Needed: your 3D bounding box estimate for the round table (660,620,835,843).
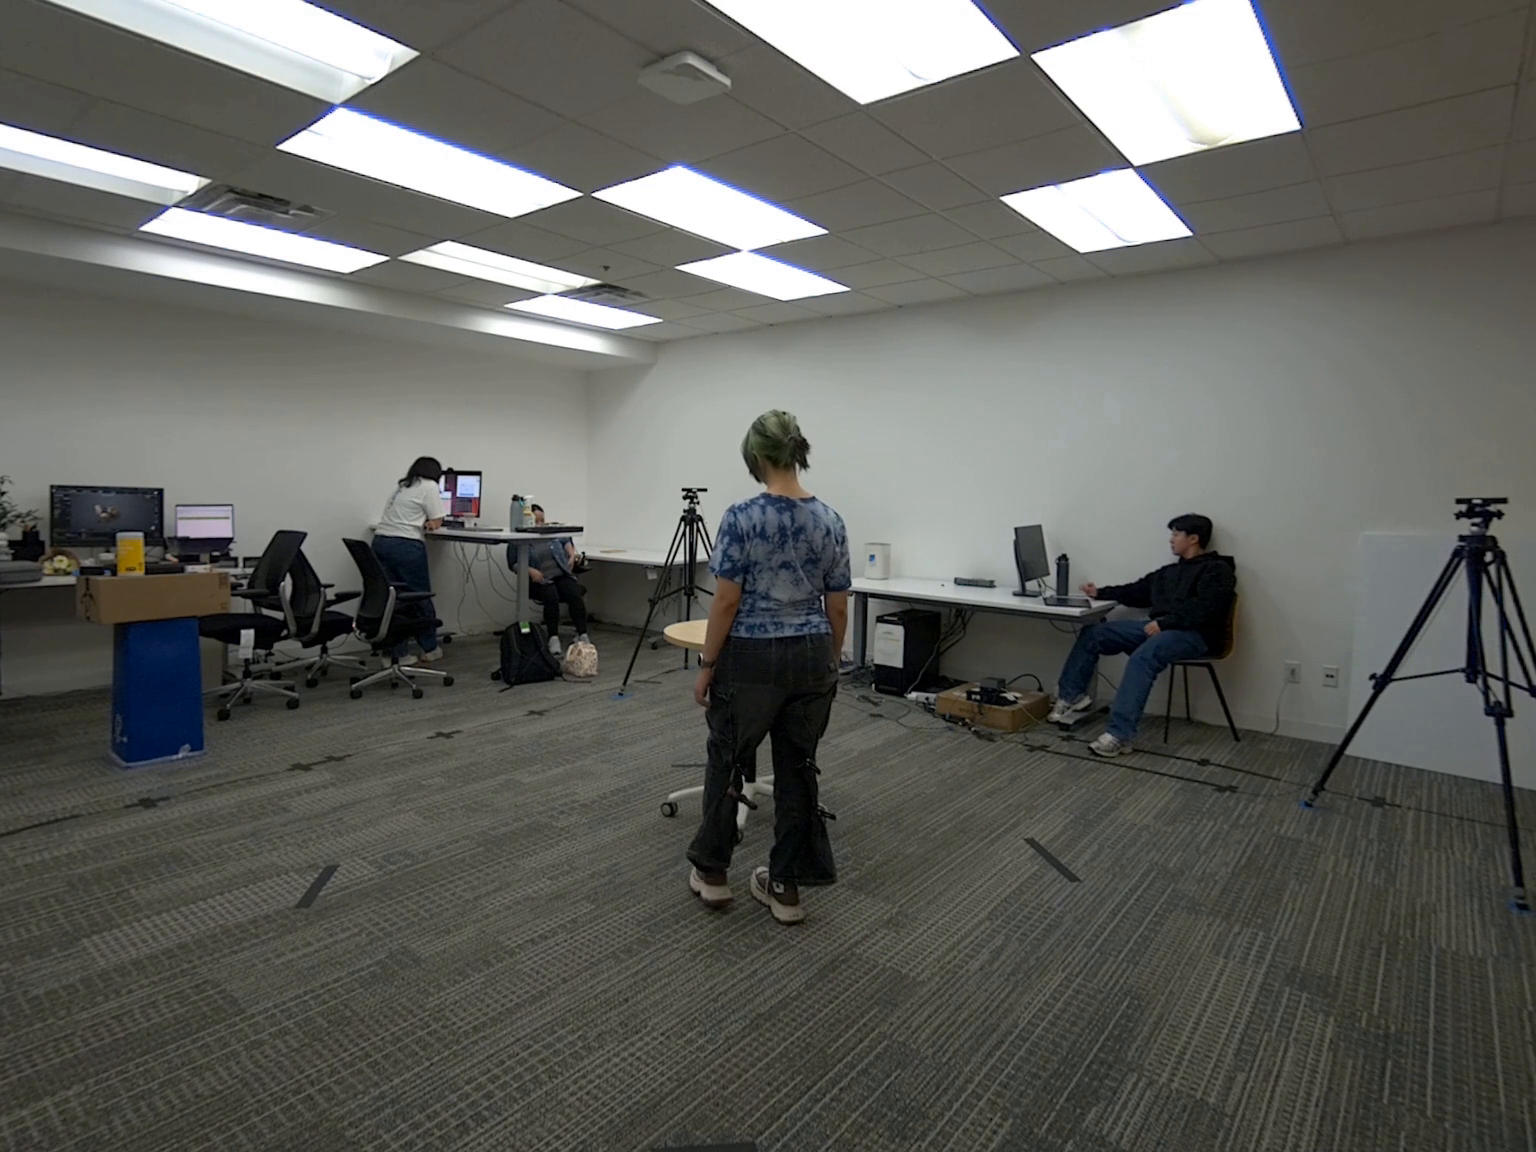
[{"bbox_3d":[-0.068,0.625,3.628,0.784,0.784,0.789,1,4,-2],"label":"round table"}]
